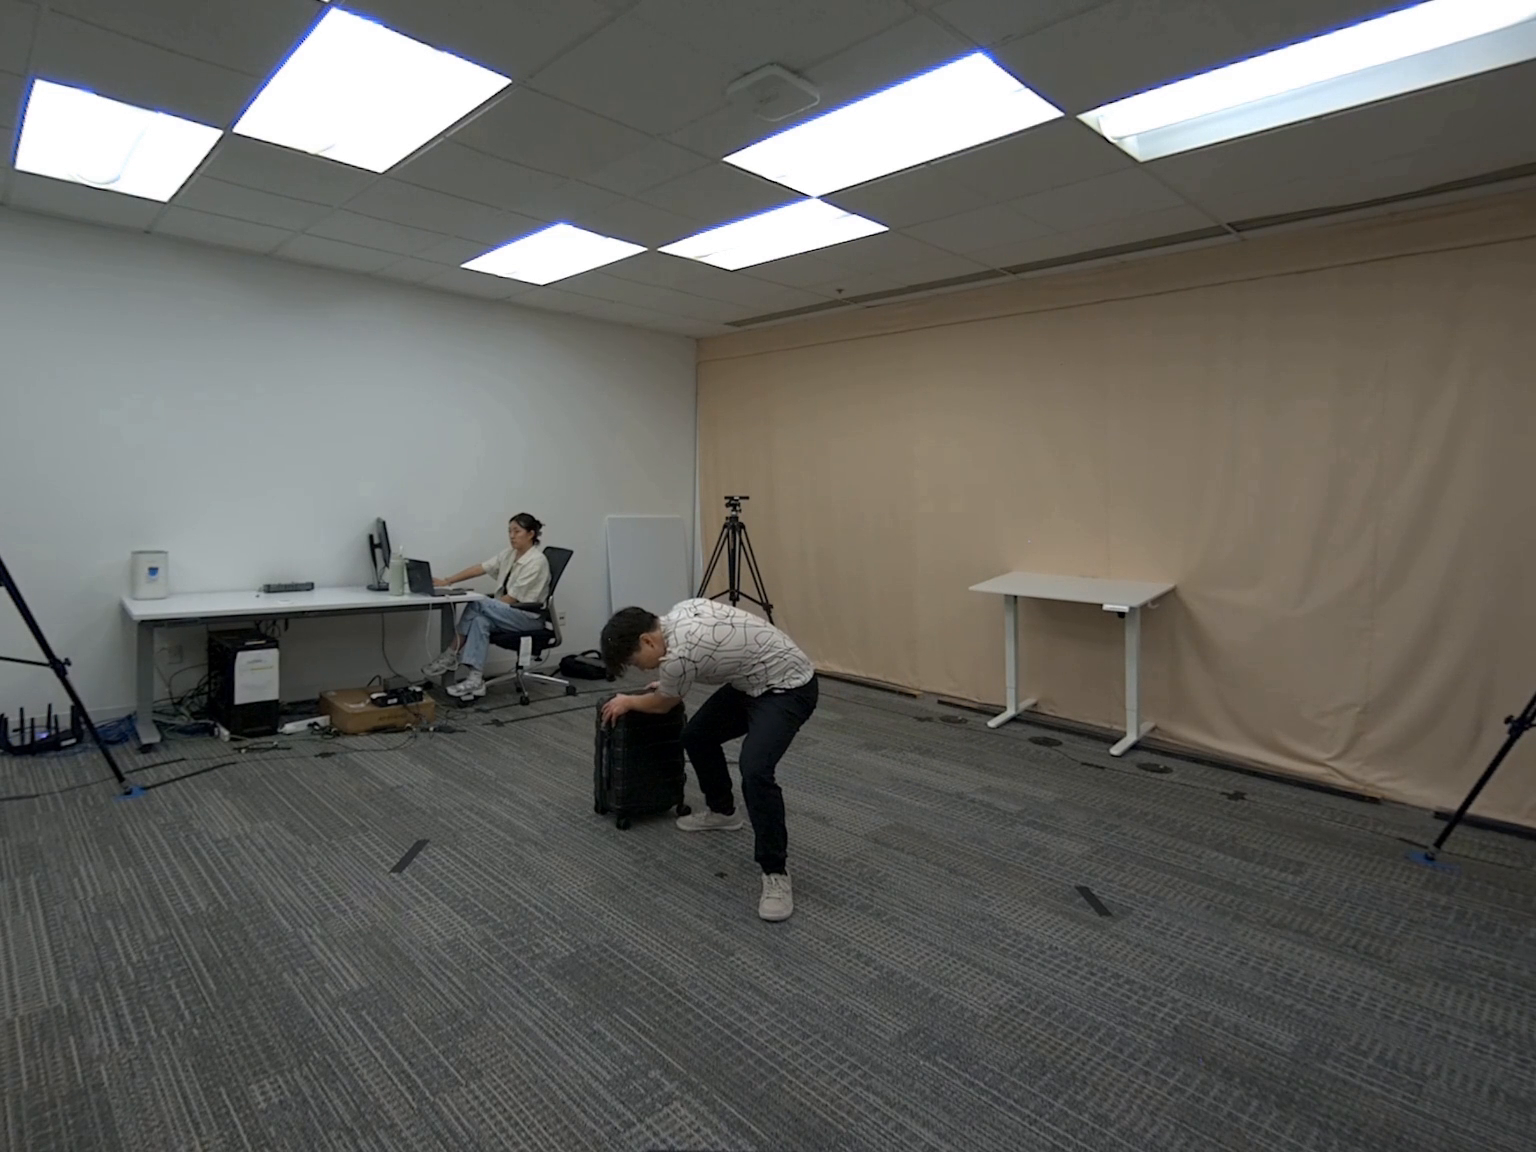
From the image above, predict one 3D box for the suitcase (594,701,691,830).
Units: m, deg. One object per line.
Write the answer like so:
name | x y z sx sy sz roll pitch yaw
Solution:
suitcase | -0.564 0.771 3.646 0.367 0.547 0.254 -3 6 -34
